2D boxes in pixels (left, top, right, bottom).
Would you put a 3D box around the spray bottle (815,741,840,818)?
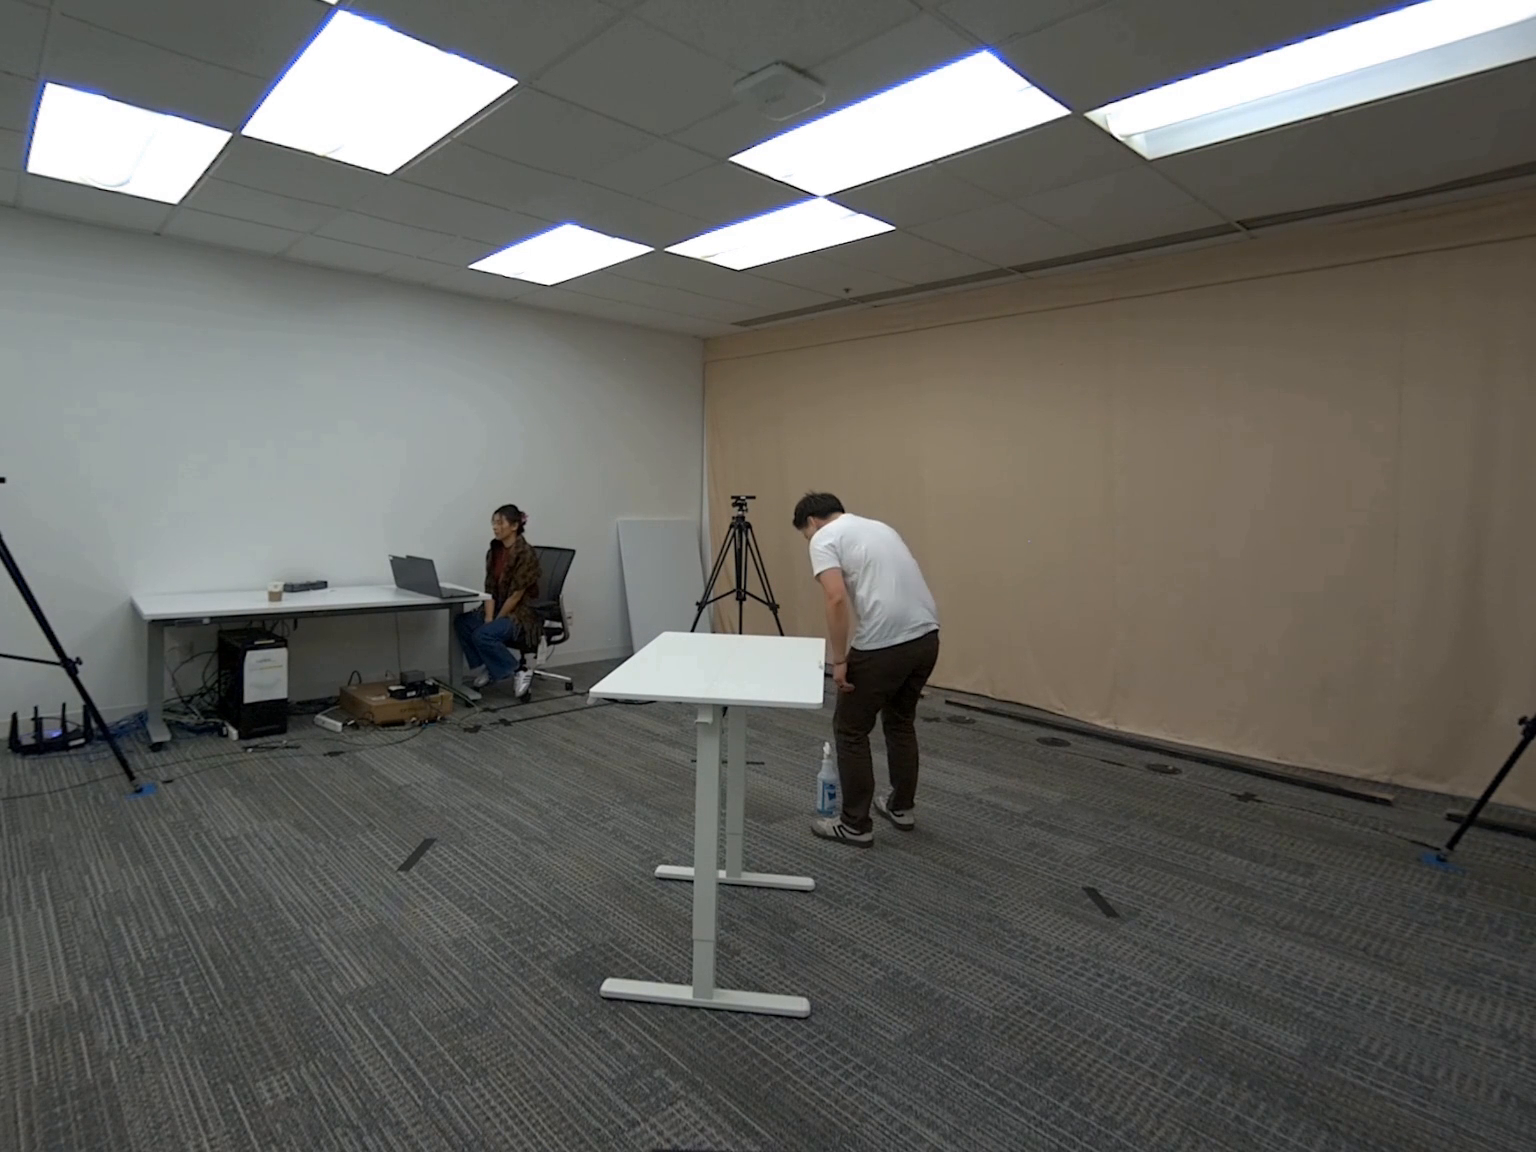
[{"bbox_3d":[0.252,0.912,3.791,0.089,0.297,0.088,0,2,28],"label":"spray bottle"}]
